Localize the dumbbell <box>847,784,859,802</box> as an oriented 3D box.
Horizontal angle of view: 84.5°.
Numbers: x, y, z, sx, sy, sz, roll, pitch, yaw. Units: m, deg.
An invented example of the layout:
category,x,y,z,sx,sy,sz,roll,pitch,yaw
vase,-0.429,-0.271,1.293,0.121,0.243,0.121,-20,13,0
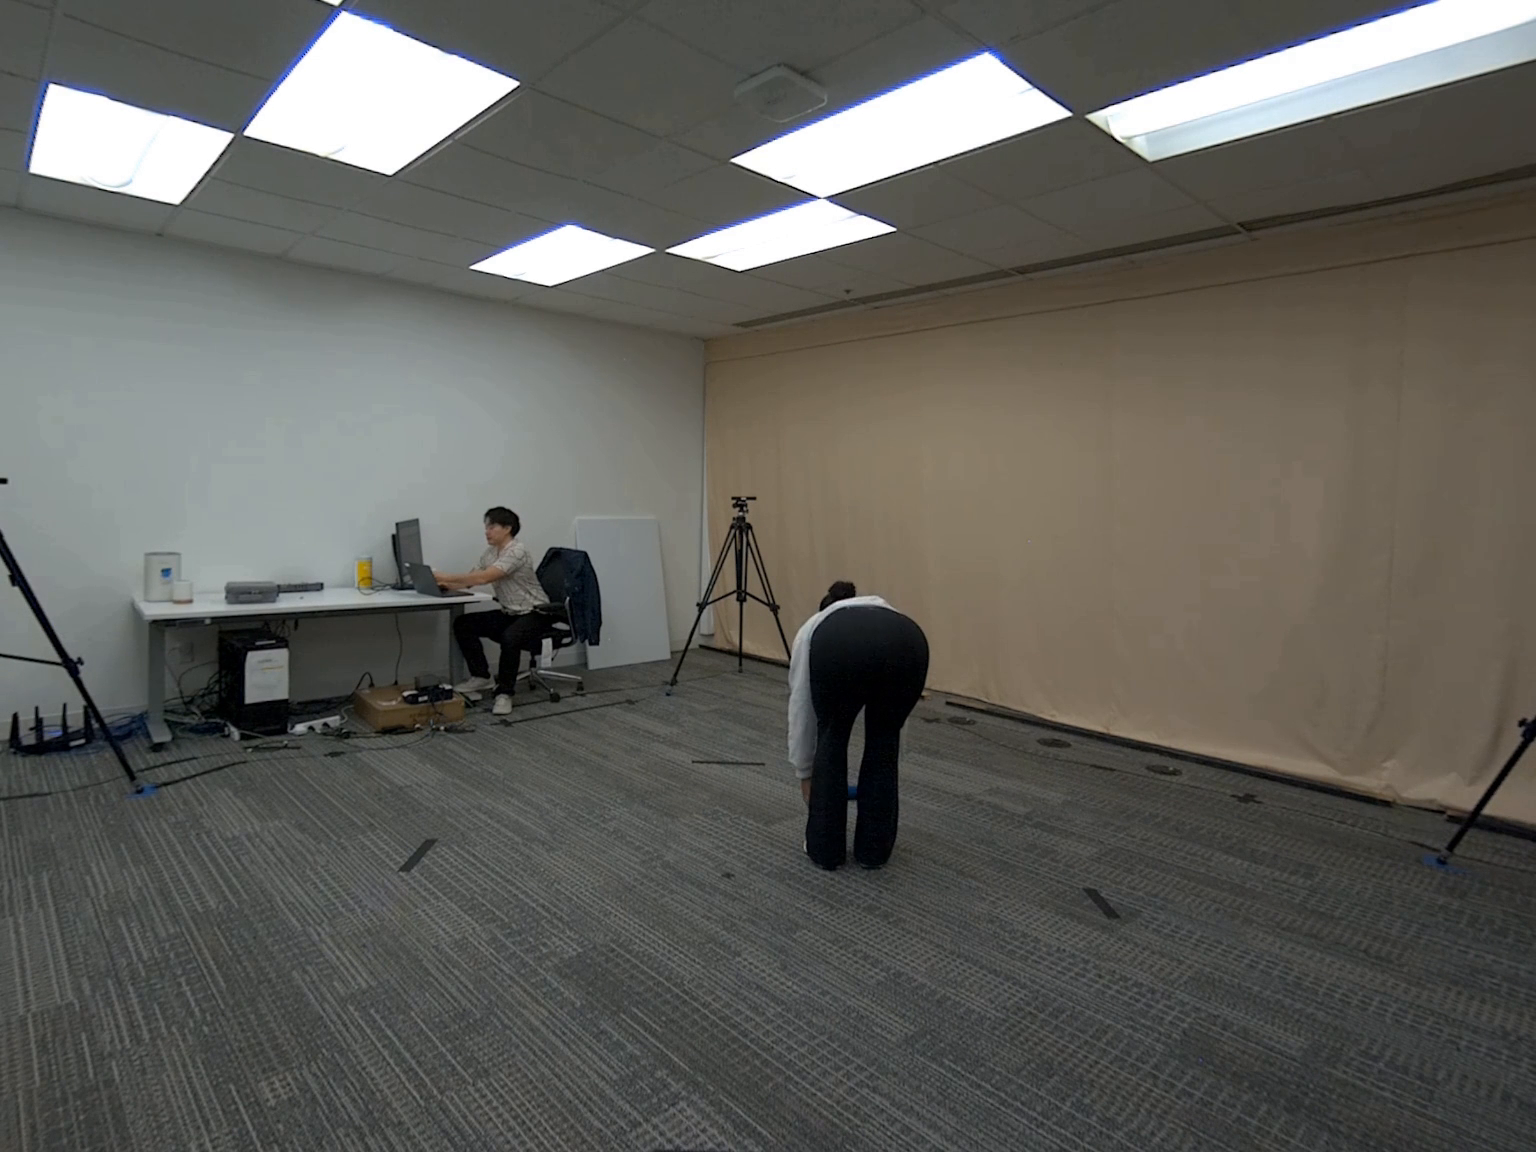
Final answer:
category,x,y,z,sx,sy,sz,roll,pitch,yaw
dumbbell,0.303,0.881,3.425,0.292,0.120,0.111,0,41,-4
